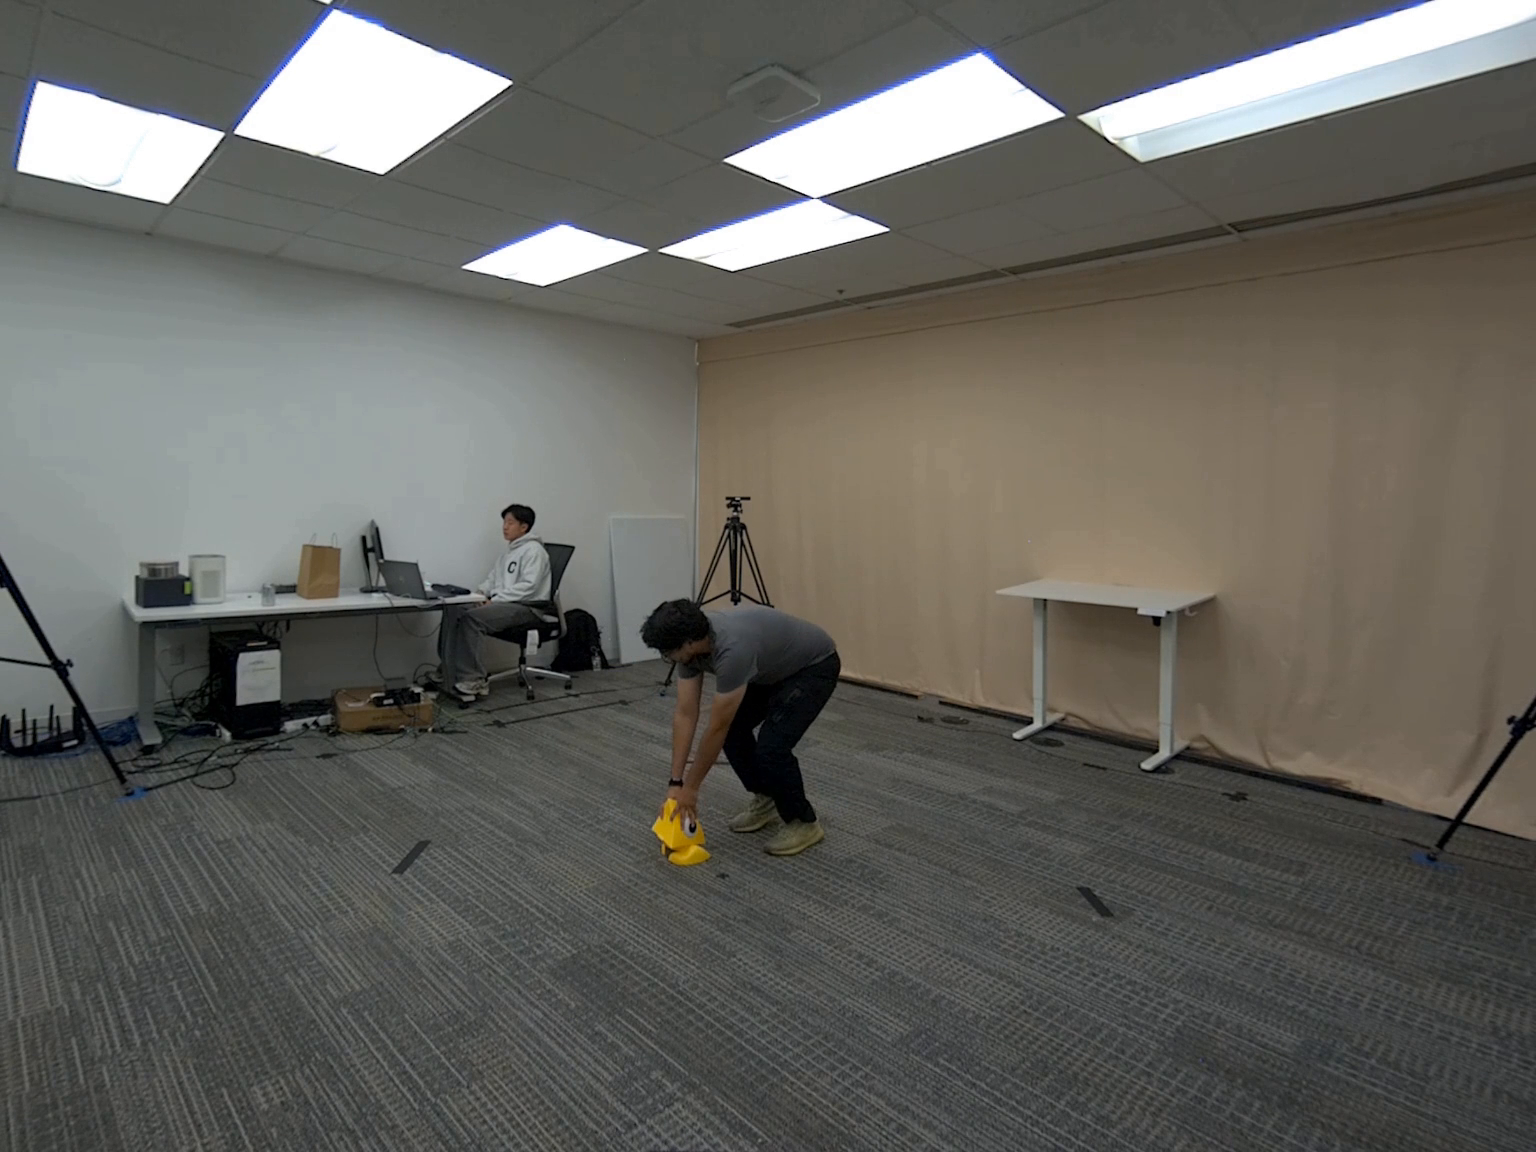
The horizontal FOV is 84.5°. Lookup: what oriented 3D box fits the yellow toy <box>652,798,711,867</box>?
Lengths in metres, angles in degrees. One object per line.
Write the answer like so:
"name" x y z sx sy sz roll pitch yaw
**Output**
"yellow toy" -0.343 0.979 3.281 0.189 0.230 0.209 -3 4 -29
